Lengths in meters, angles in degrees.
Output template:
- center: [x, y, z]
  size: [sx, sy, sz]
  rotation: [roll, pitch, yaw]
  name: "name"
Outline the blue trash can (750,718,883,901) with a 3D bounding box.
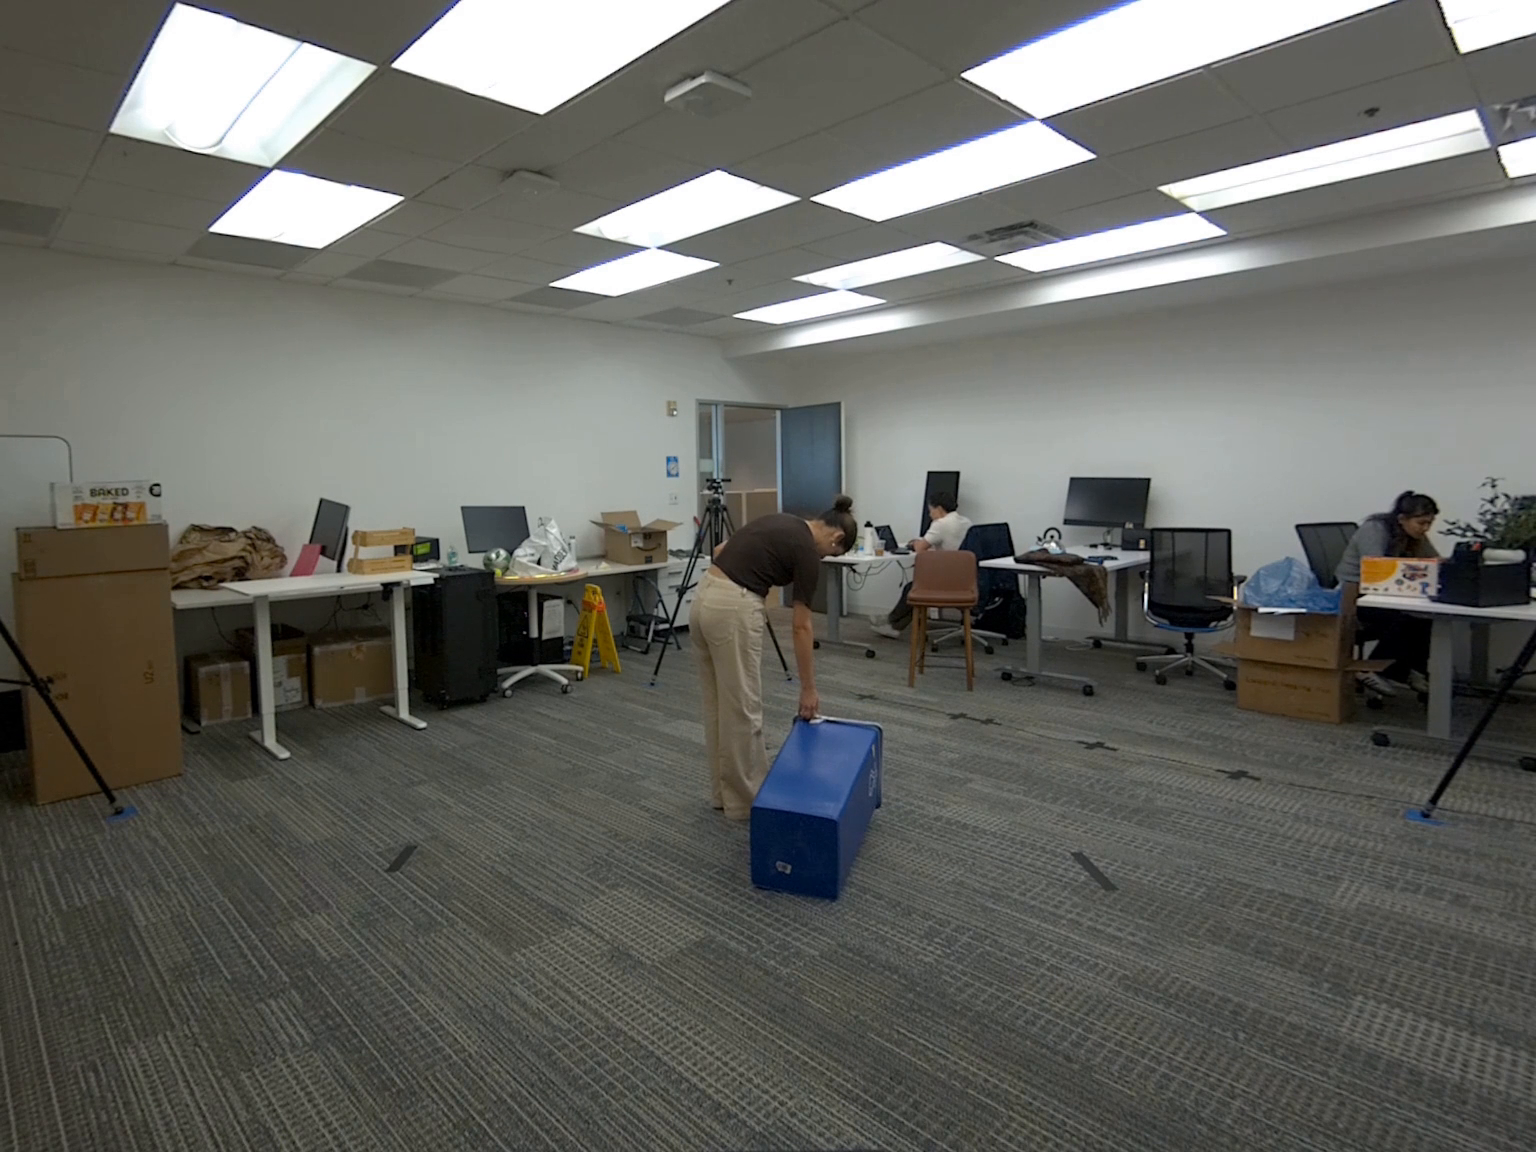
- center: [0.197, 0.843, 3.151]
  size: [0.385, 0.370, 0.708]
  rotation: [3, 14, 19]
  name: "blue trash can"
